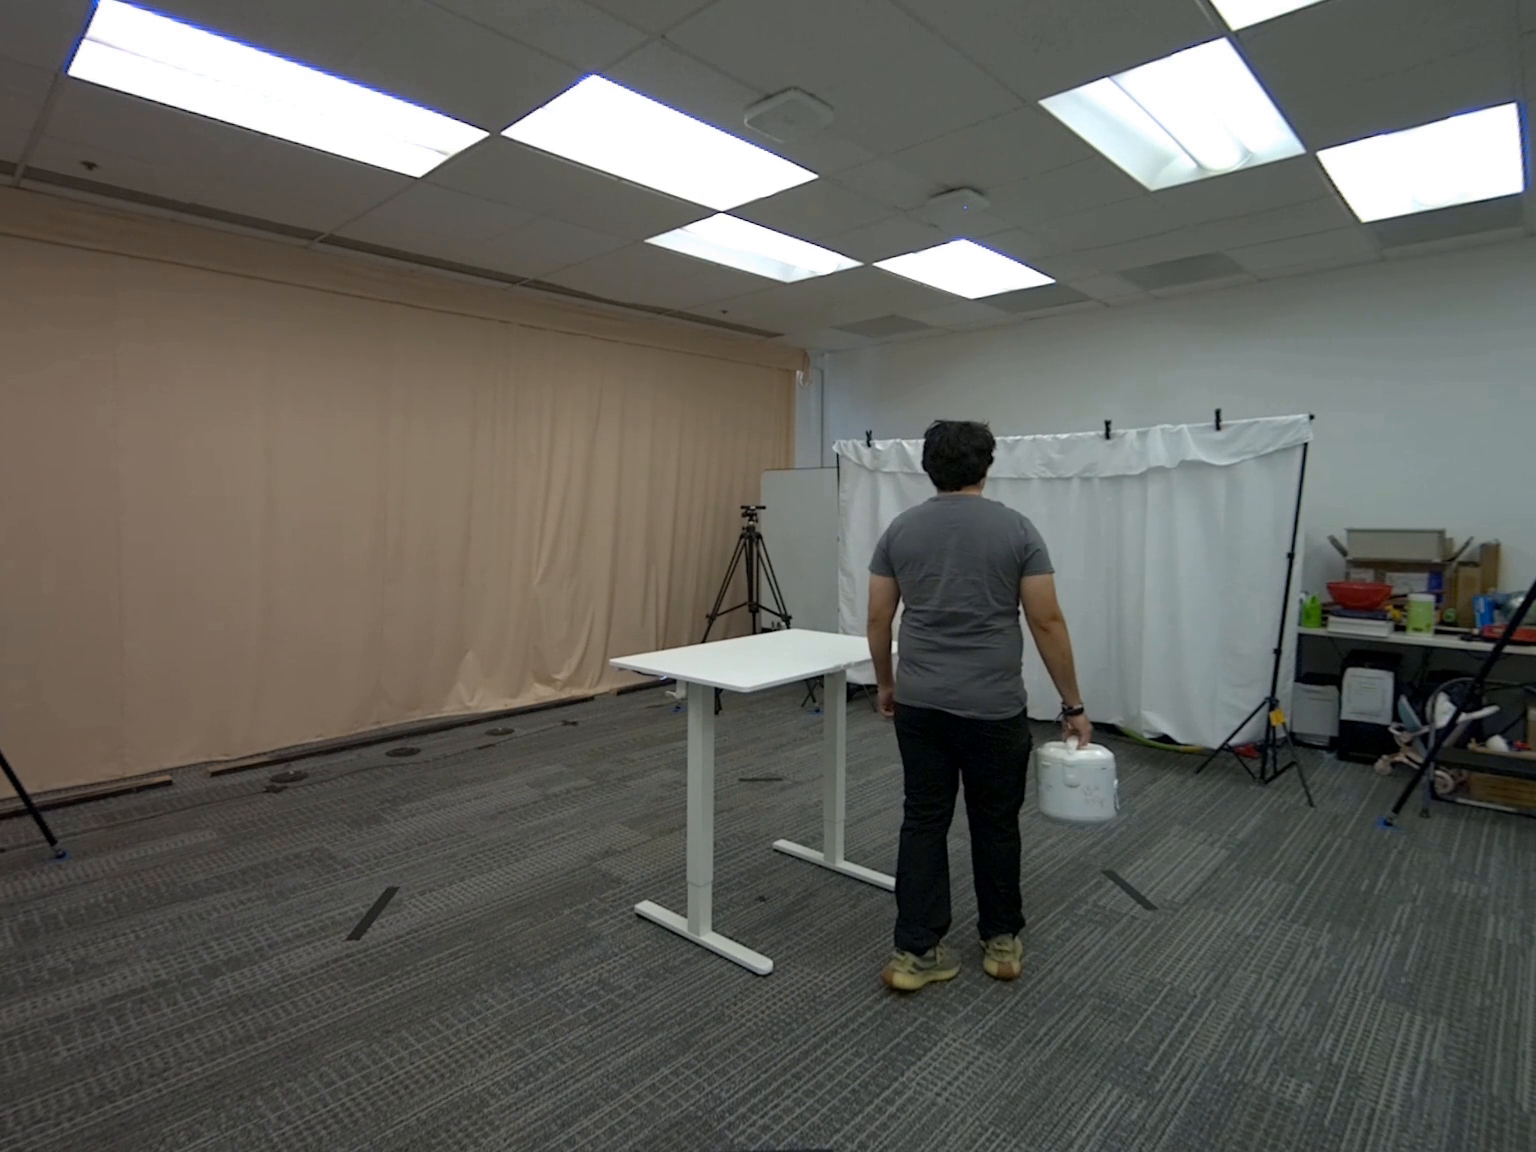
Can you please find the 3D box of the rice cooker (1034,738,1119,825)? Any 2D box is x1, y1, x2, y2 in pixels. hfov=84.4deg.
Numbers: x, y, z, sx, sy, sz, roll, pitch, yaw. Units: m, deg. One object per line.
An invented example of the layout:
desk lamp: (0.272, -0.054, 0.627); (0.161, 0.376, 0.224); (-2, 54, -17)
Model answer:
rice cooker: (0.894, 0.582, 2.406); (0.223, 0.233, 0.214); (-3, -4, 27)
